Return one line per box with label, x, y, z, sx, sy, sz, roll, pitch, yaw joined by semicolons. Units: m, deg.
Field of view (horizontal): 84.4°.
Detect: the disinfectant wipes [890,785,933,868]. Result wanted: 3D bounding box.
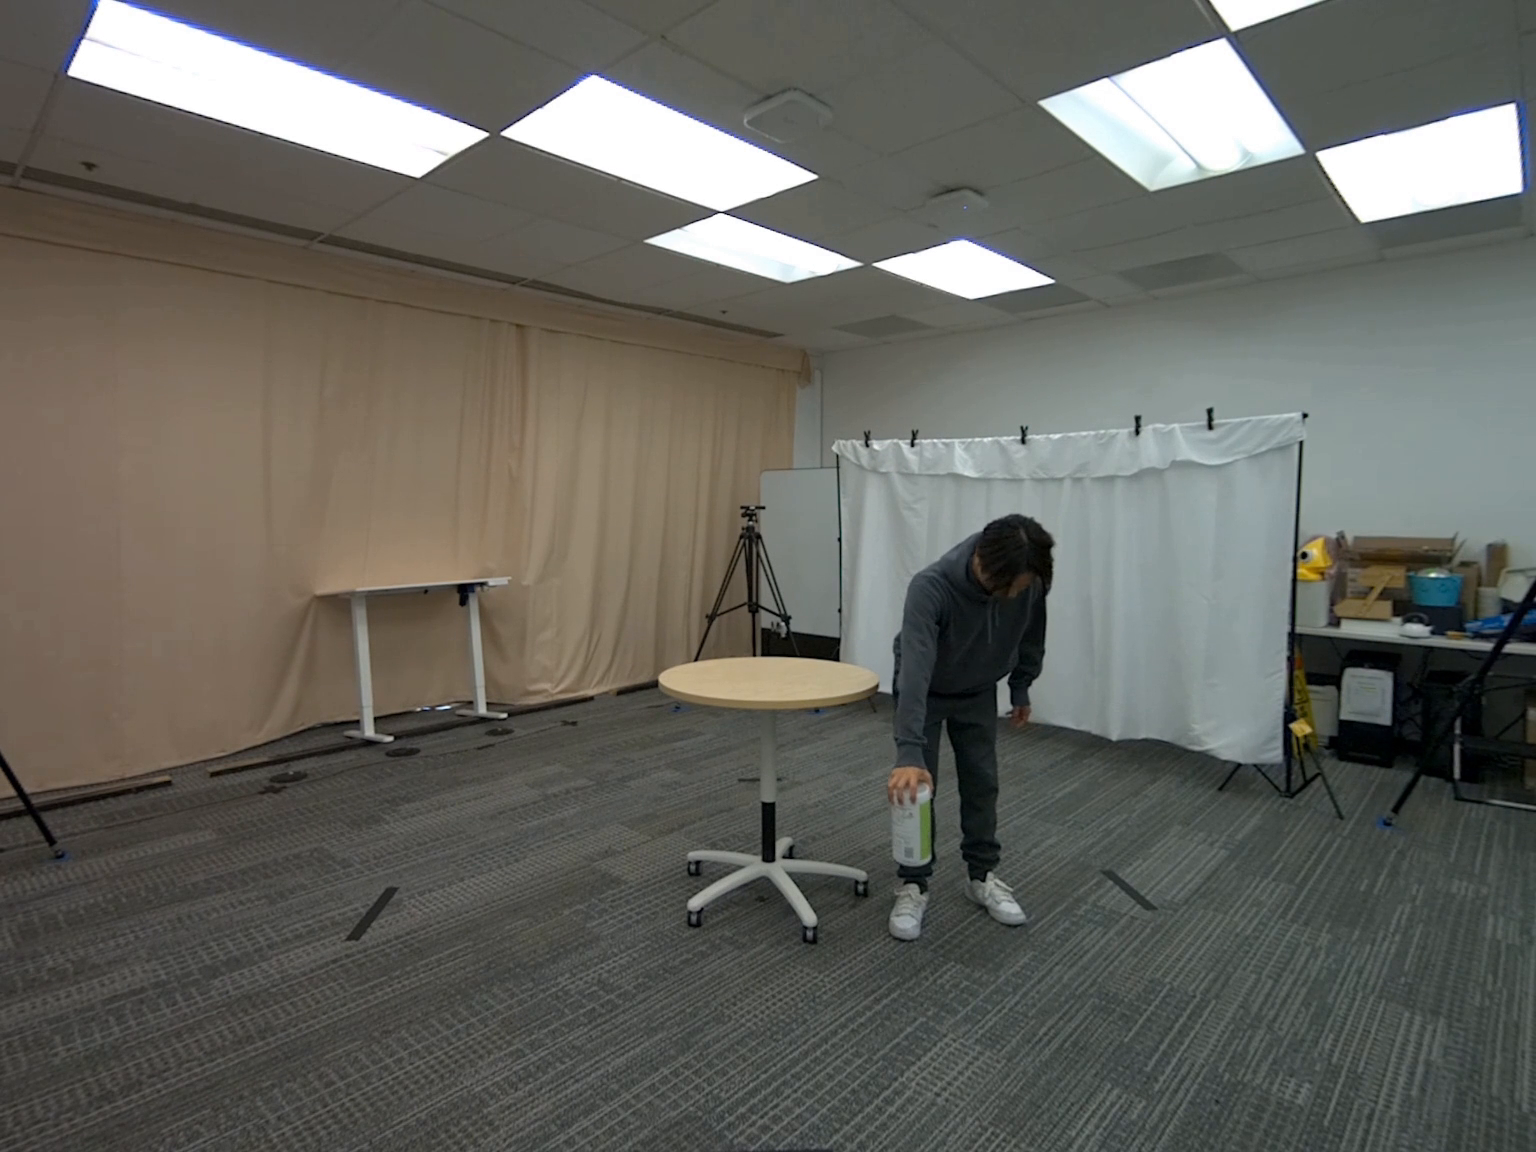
disinfectant wipes;0.412;0.694;2.361;0.118;0.216;0.118;-3;7;-1
